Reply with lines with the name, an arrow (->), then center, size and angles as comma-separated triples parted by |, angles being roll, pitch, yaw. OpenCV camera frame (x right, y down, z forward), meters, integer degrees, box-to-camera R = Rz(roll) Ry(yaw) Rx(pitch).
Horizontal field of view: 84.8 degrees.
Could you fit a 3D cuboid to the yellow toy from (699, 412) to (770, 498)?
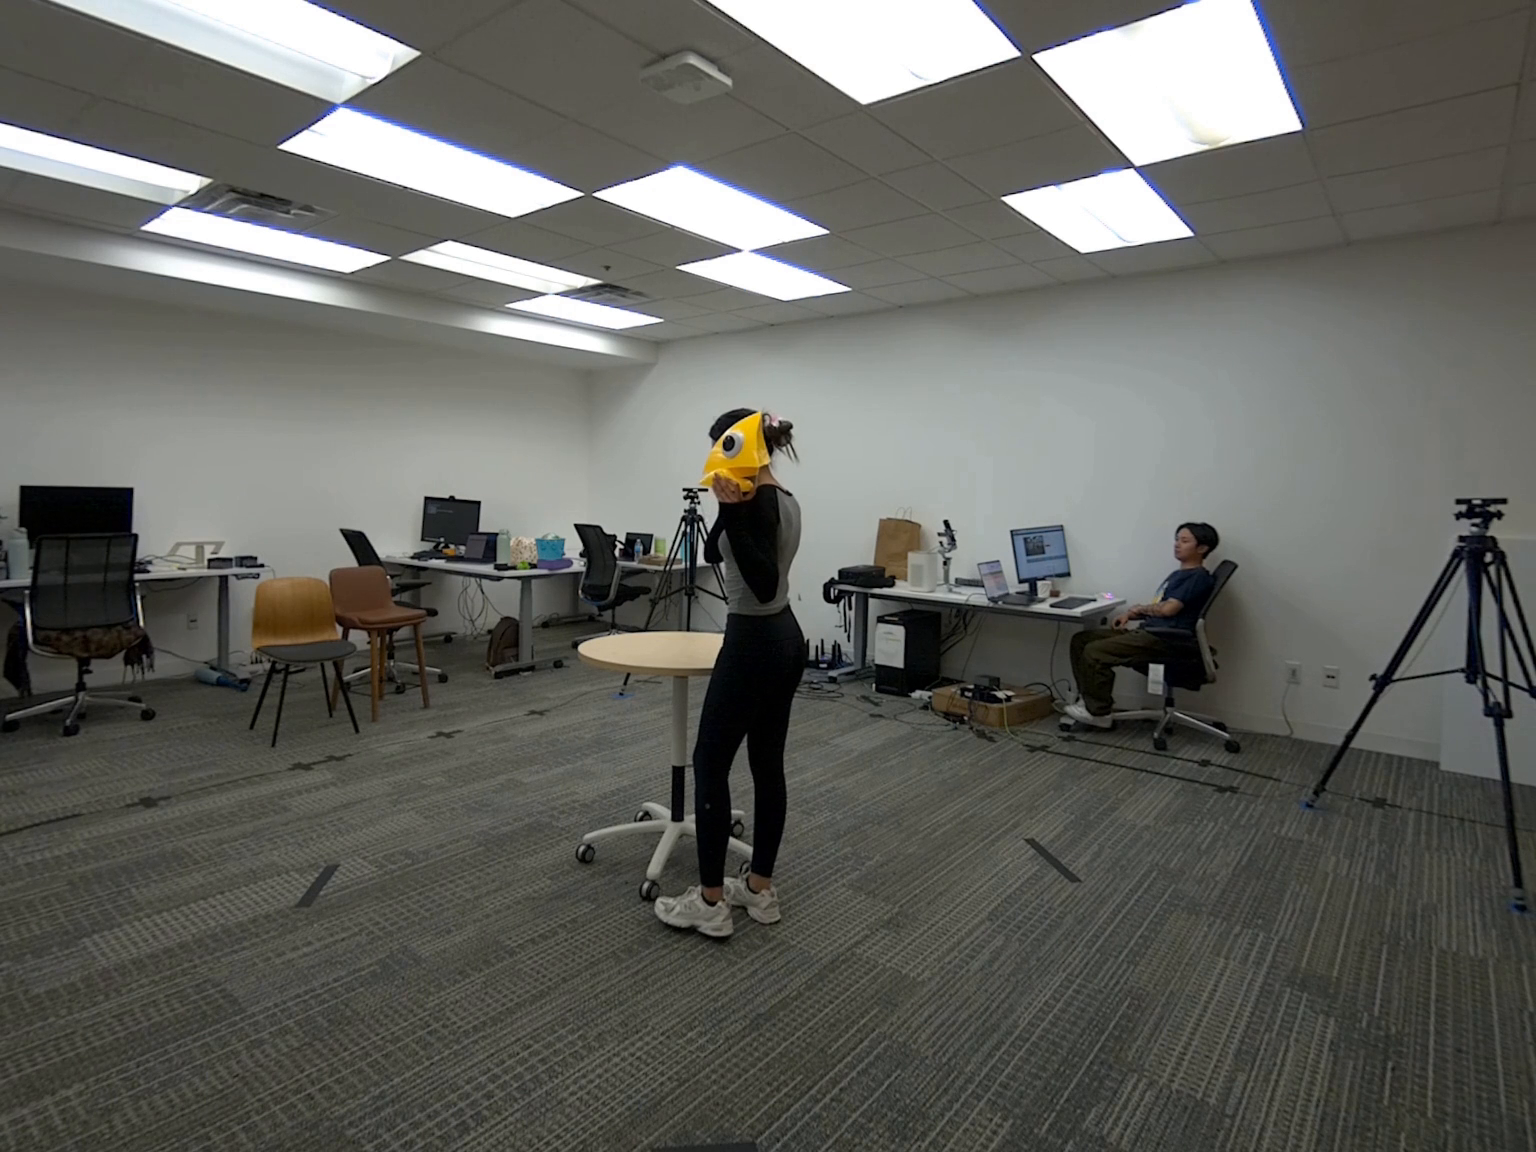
yellow toy -> -0.107, -0.386, 2.538 | 0.195, 0.229, 0.204 | 9, 11, 9
